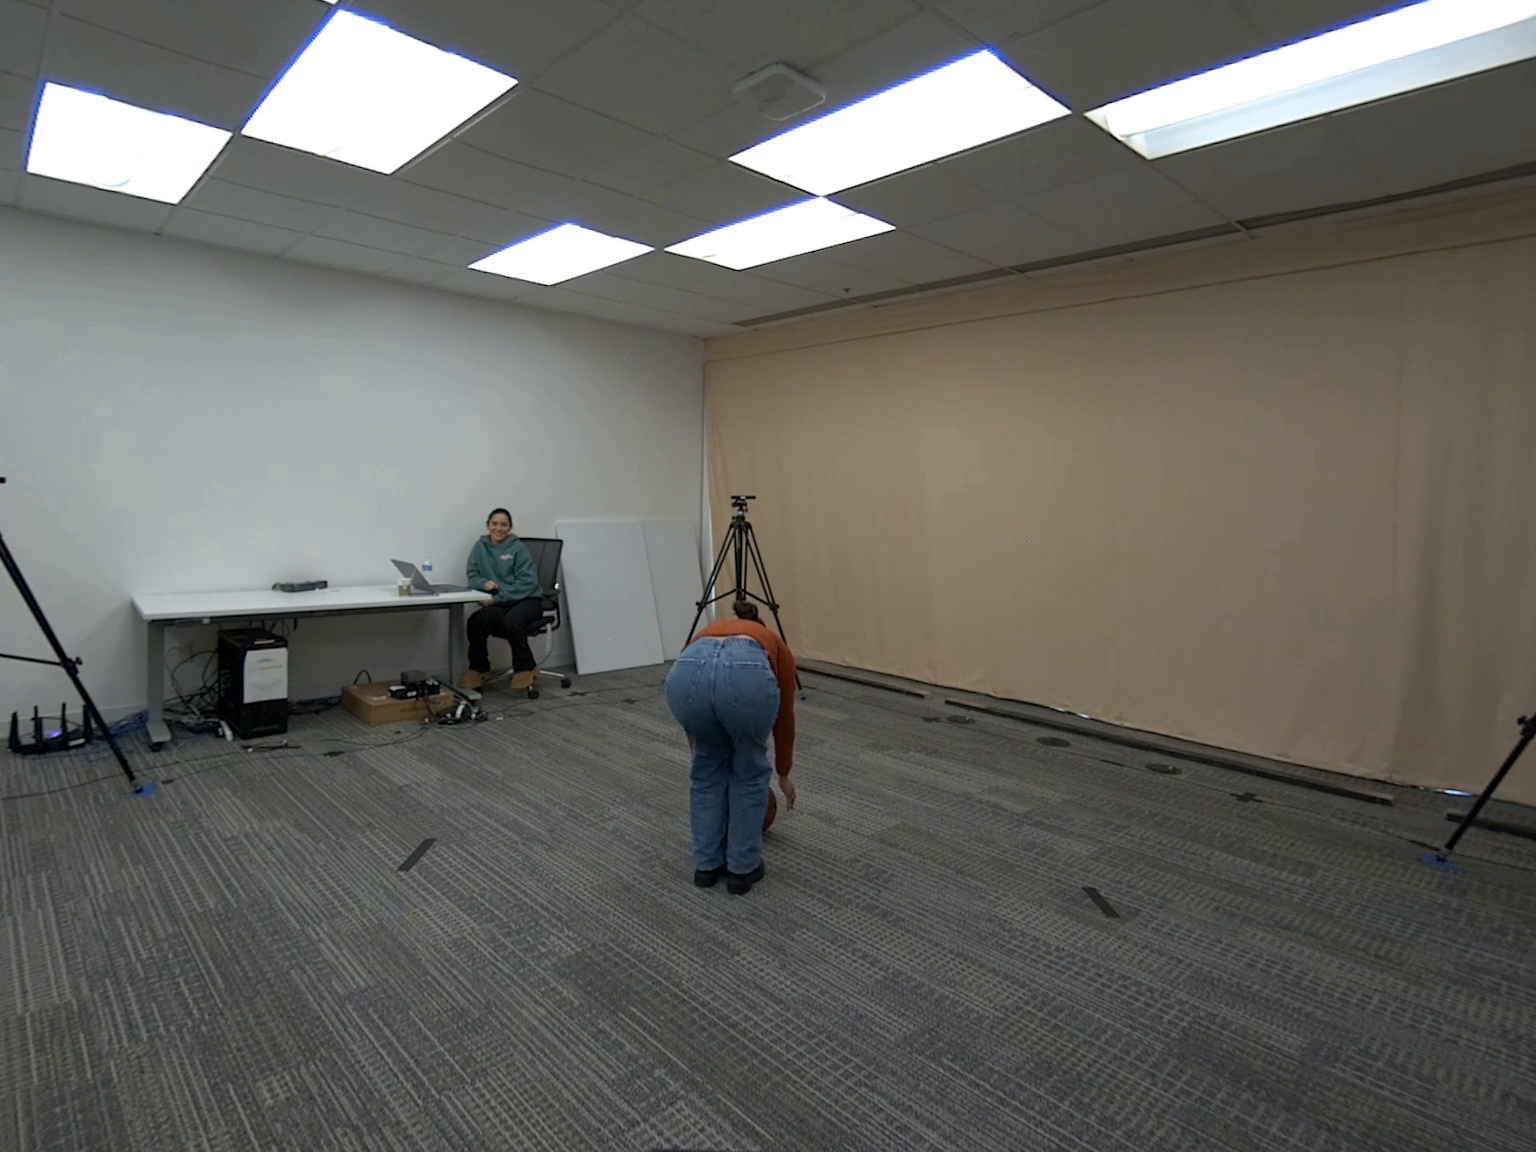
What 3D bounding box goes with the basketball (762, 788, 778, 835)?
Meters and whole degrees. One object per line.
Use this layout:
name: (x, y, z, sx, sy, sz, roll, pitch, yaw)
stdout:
basketball: (-0.086, 0.950, 3.481, 0.236, 0.235, 0.237, 1, 4, -1)
